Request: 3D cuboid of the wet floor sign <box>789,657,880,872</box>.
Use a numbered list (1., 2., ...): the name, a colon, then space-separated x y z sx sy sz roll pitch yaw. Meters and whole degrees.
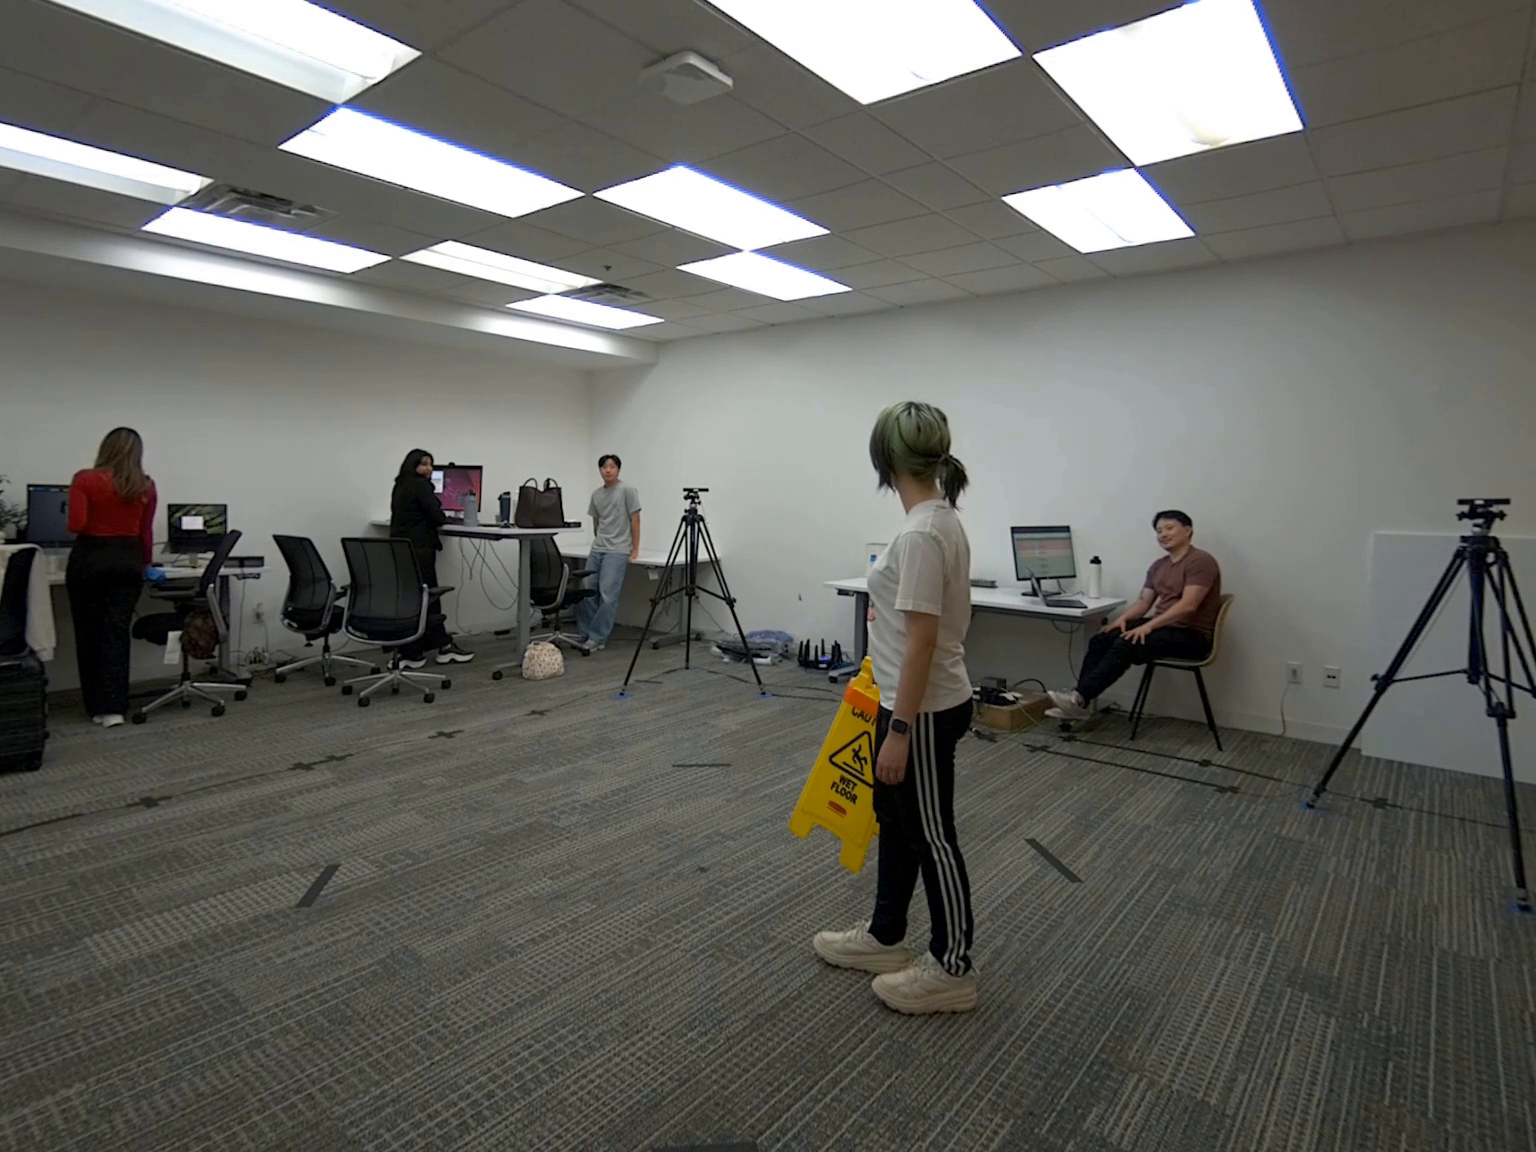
1. wet floor sign: 0.305 0.585 2.789 0.292 0.638 0.283 24 21 29
